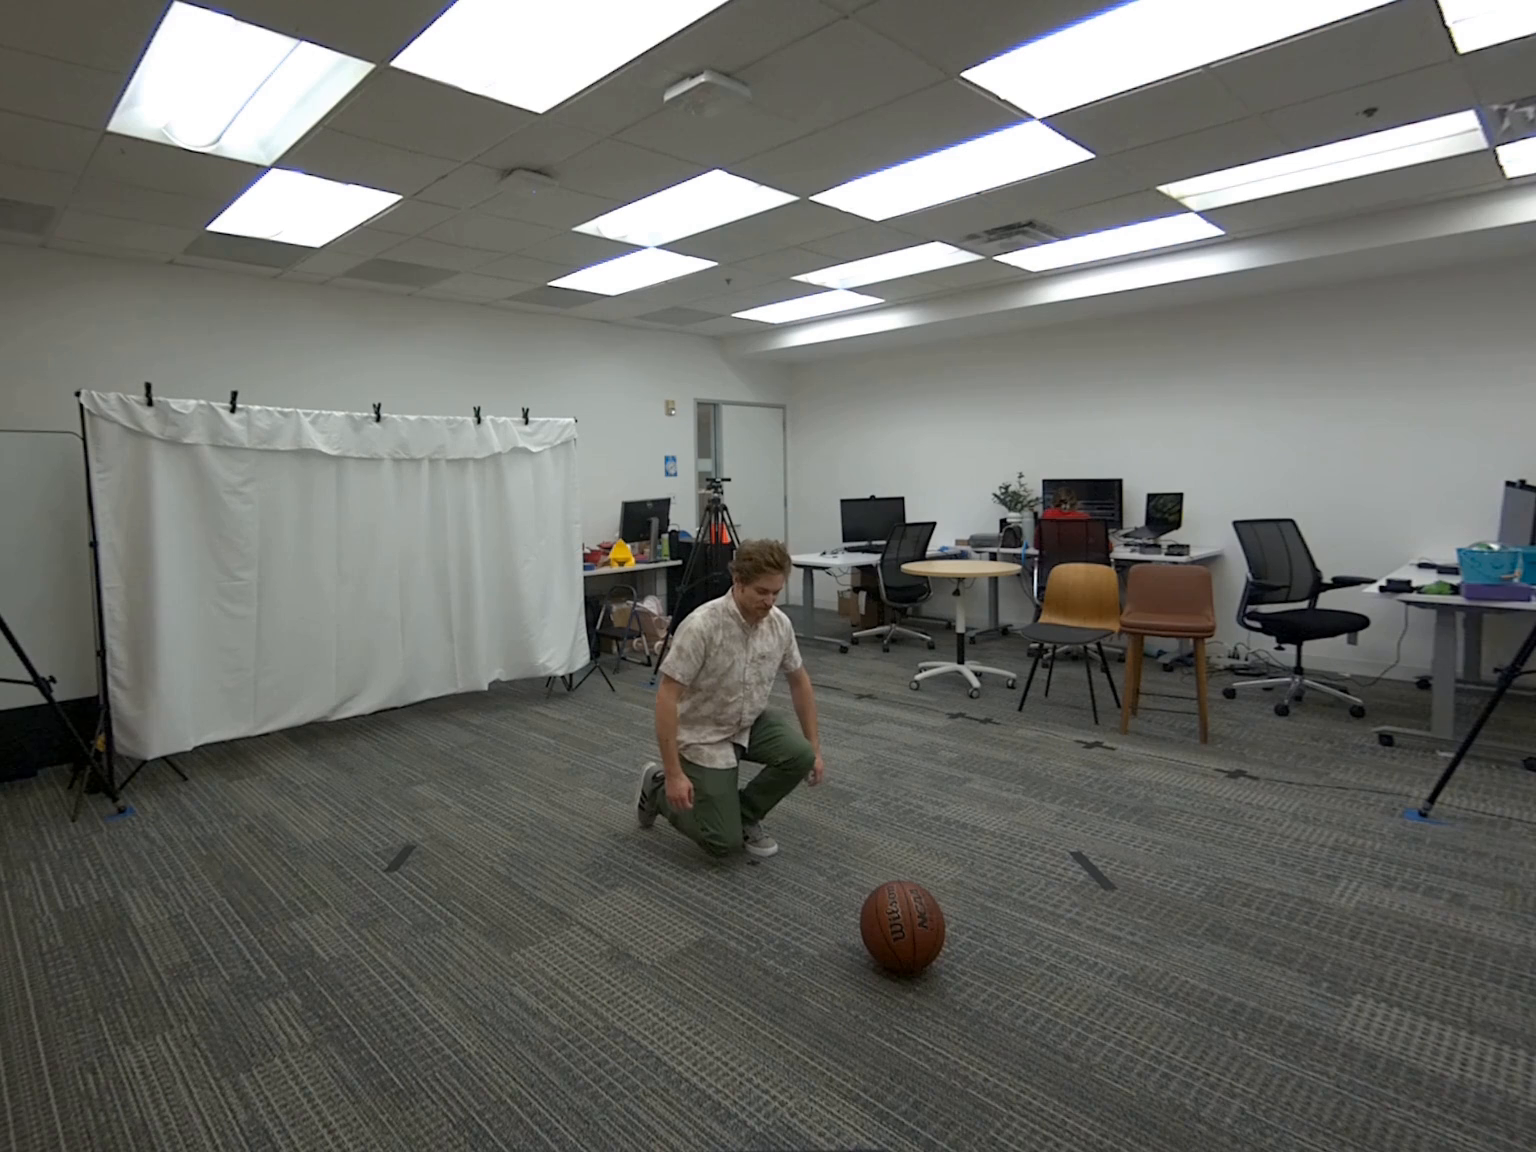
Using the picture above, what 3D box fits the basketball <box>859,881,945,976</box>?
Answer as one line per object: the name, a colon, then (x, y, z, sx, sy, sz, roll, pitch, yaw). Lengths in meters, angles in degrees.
basketball: (0.385, 0.987, 2.431, 0.236, 0.235, 0.237, -1, 5, -2)
